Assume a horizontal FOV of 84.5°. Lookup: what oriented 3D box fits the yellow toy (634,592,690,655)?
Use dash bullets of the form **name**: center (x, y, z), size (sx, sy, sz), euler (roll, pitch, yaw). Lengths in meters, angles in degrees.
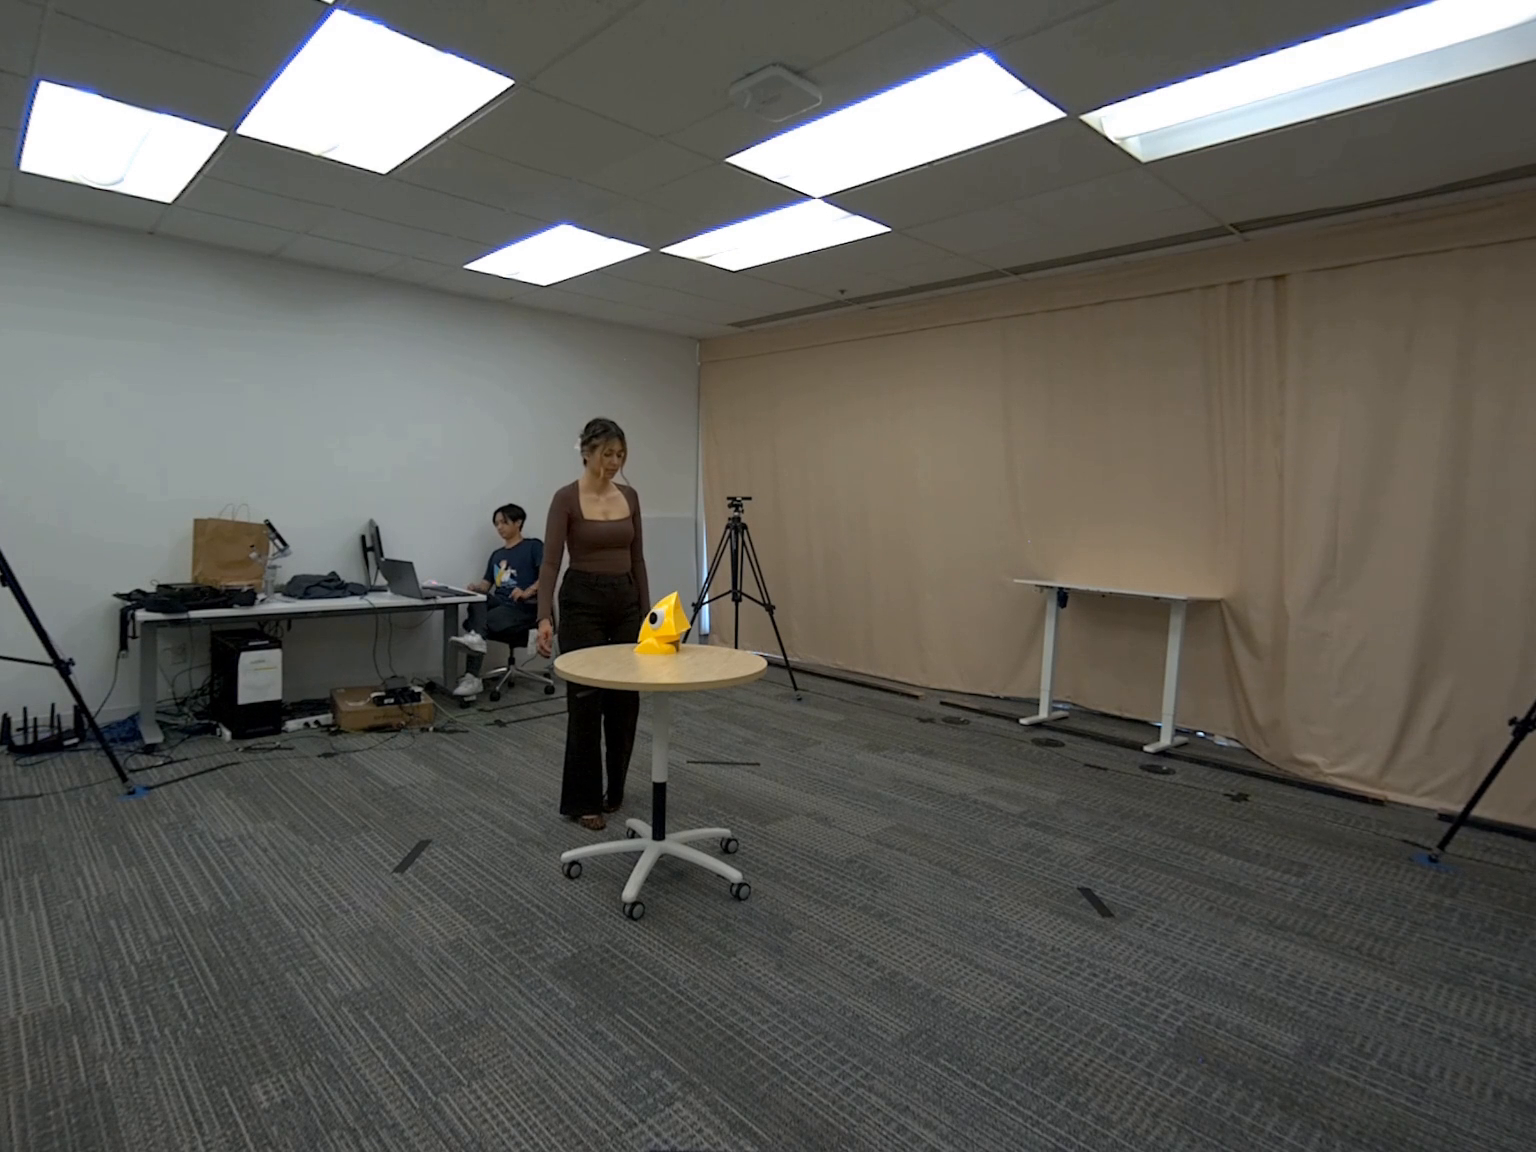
- **yellow toy**: center (-0.416, 0.171, 3.269), size (0.195, 0.230, 0.203), euler (3, 3, 12)
